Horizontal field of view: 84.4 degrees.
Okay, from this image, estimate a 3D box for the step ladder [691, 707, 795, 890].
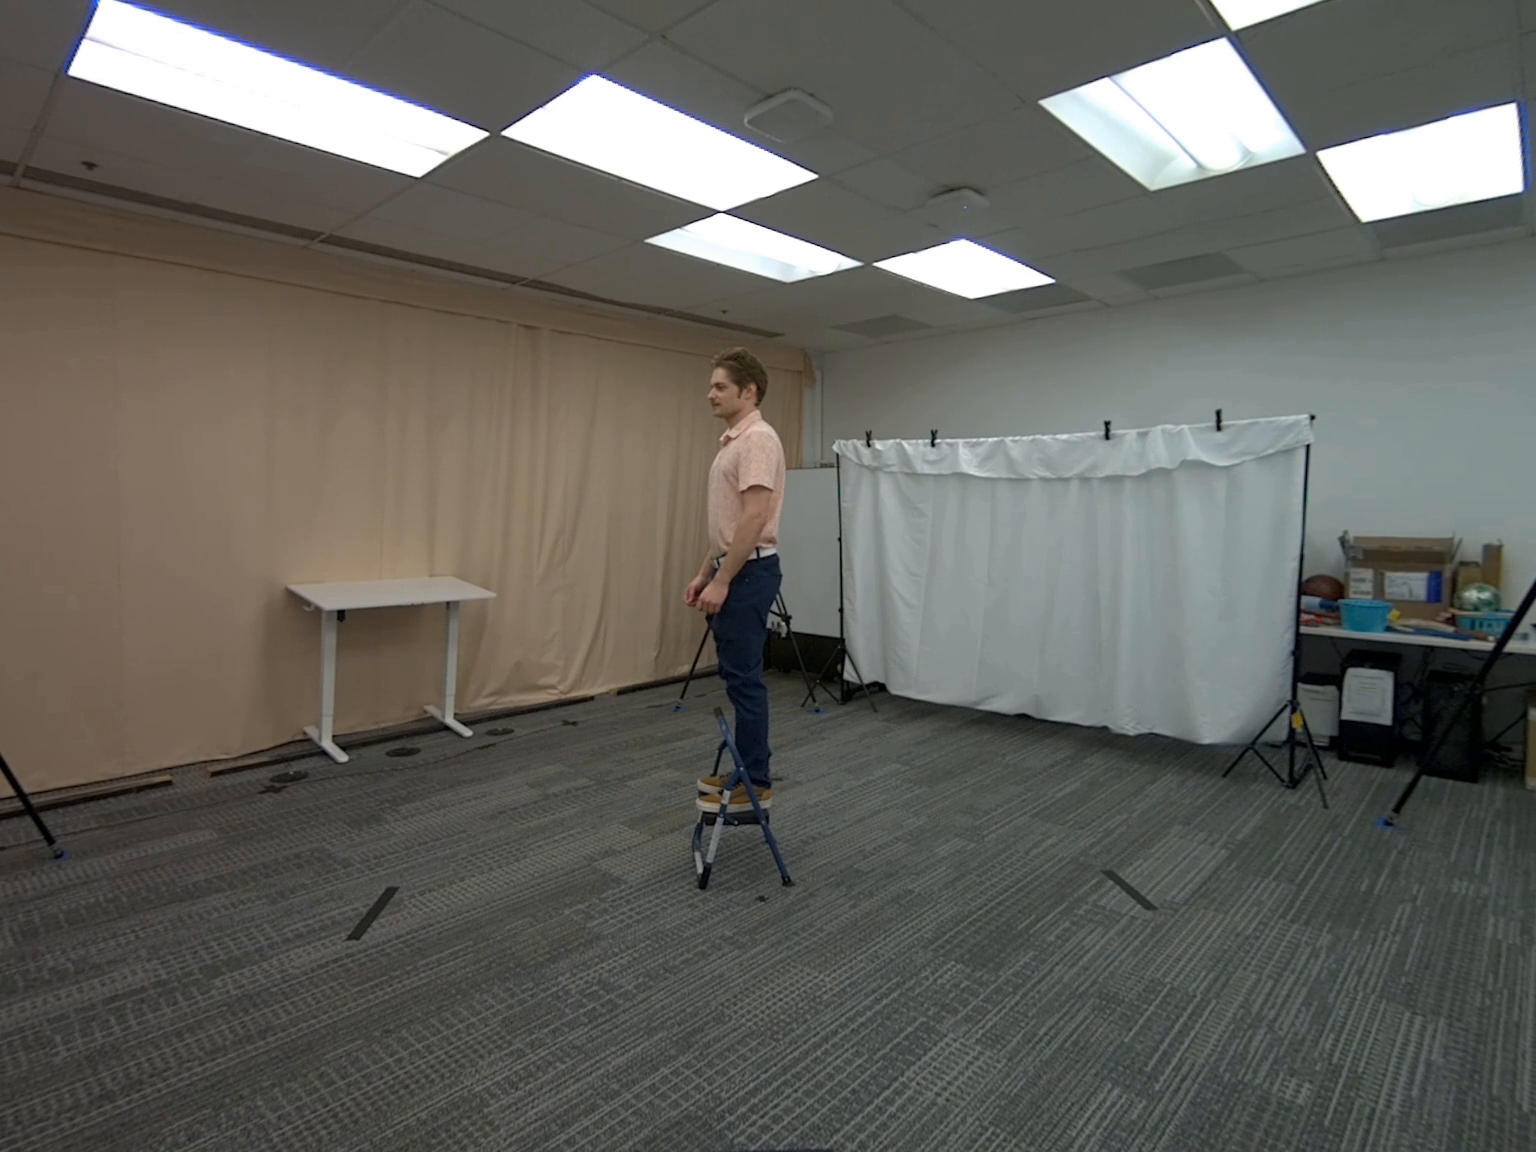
[{"bbox_3d":[-0.113,0.822,3.258,0.346,0.605,0.435,0,3,-9],"label":"step ladder"}]
